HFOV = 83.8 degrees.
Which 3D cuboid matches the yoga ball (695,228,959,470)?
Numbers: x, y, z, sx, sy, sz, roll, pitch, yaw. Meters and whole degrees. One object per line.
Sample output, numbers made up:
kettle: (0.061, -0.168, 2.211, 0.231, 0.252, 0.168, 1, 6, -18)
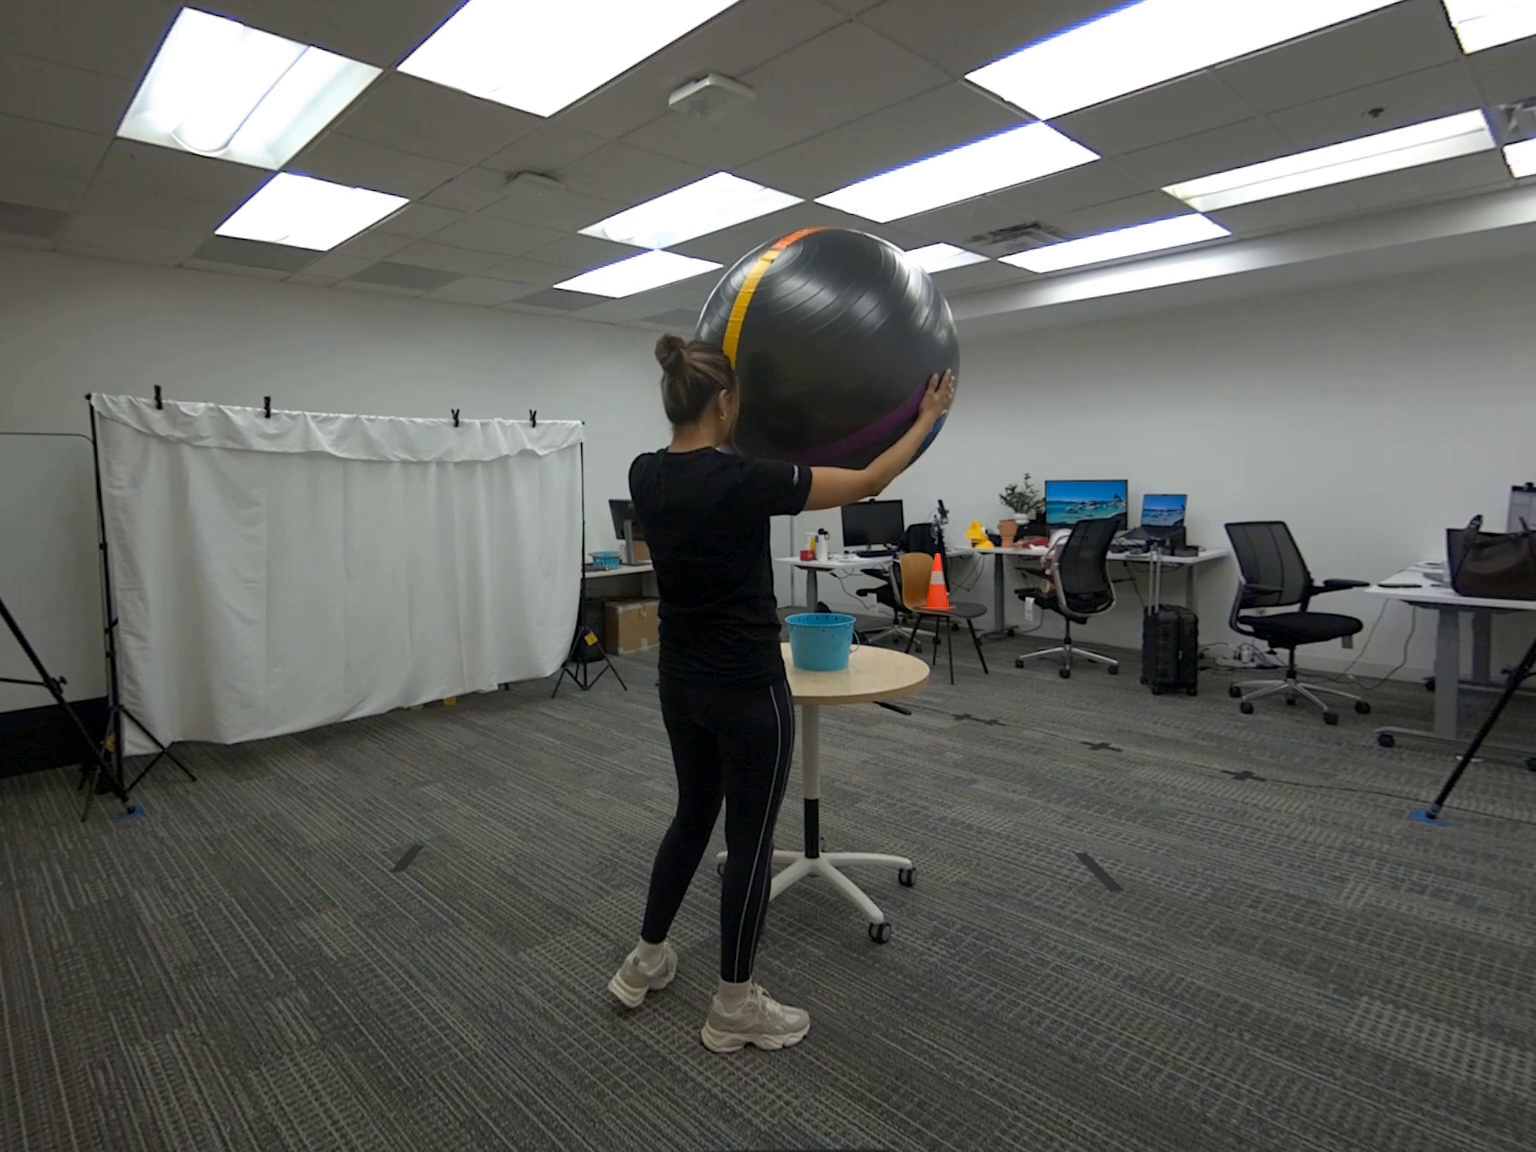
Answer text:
yoga ball: (0.160, -0.593, 2.442, 0.757, 0.755, 0.762, -1, 5, -2)
